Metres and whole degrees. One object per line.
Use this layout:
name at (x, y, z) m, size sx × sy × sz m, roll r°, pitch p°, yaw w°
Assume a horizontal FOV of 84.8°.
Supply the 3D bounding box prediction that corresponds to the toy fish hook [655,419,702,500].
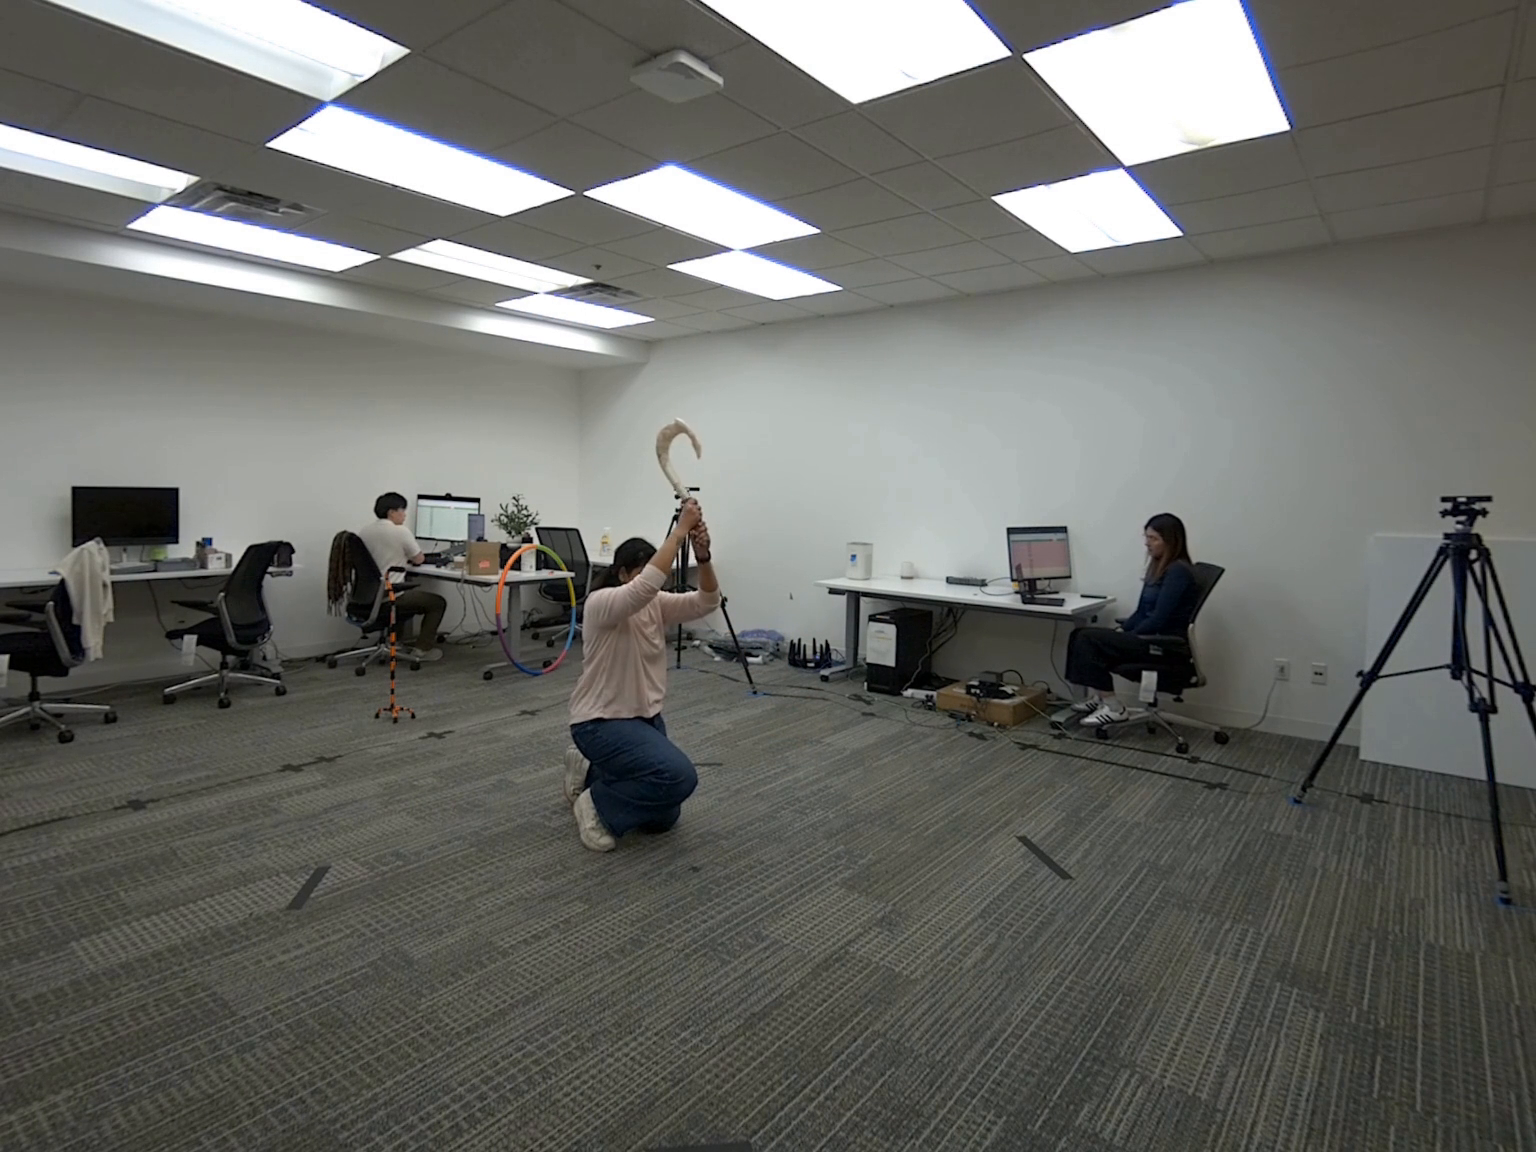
toy fish hook at (-0.316, -0.356, 3.297) m, size 0.047 × 0.513 × 0.228 m, roll -11°, pitch -13°, yaw -47°
